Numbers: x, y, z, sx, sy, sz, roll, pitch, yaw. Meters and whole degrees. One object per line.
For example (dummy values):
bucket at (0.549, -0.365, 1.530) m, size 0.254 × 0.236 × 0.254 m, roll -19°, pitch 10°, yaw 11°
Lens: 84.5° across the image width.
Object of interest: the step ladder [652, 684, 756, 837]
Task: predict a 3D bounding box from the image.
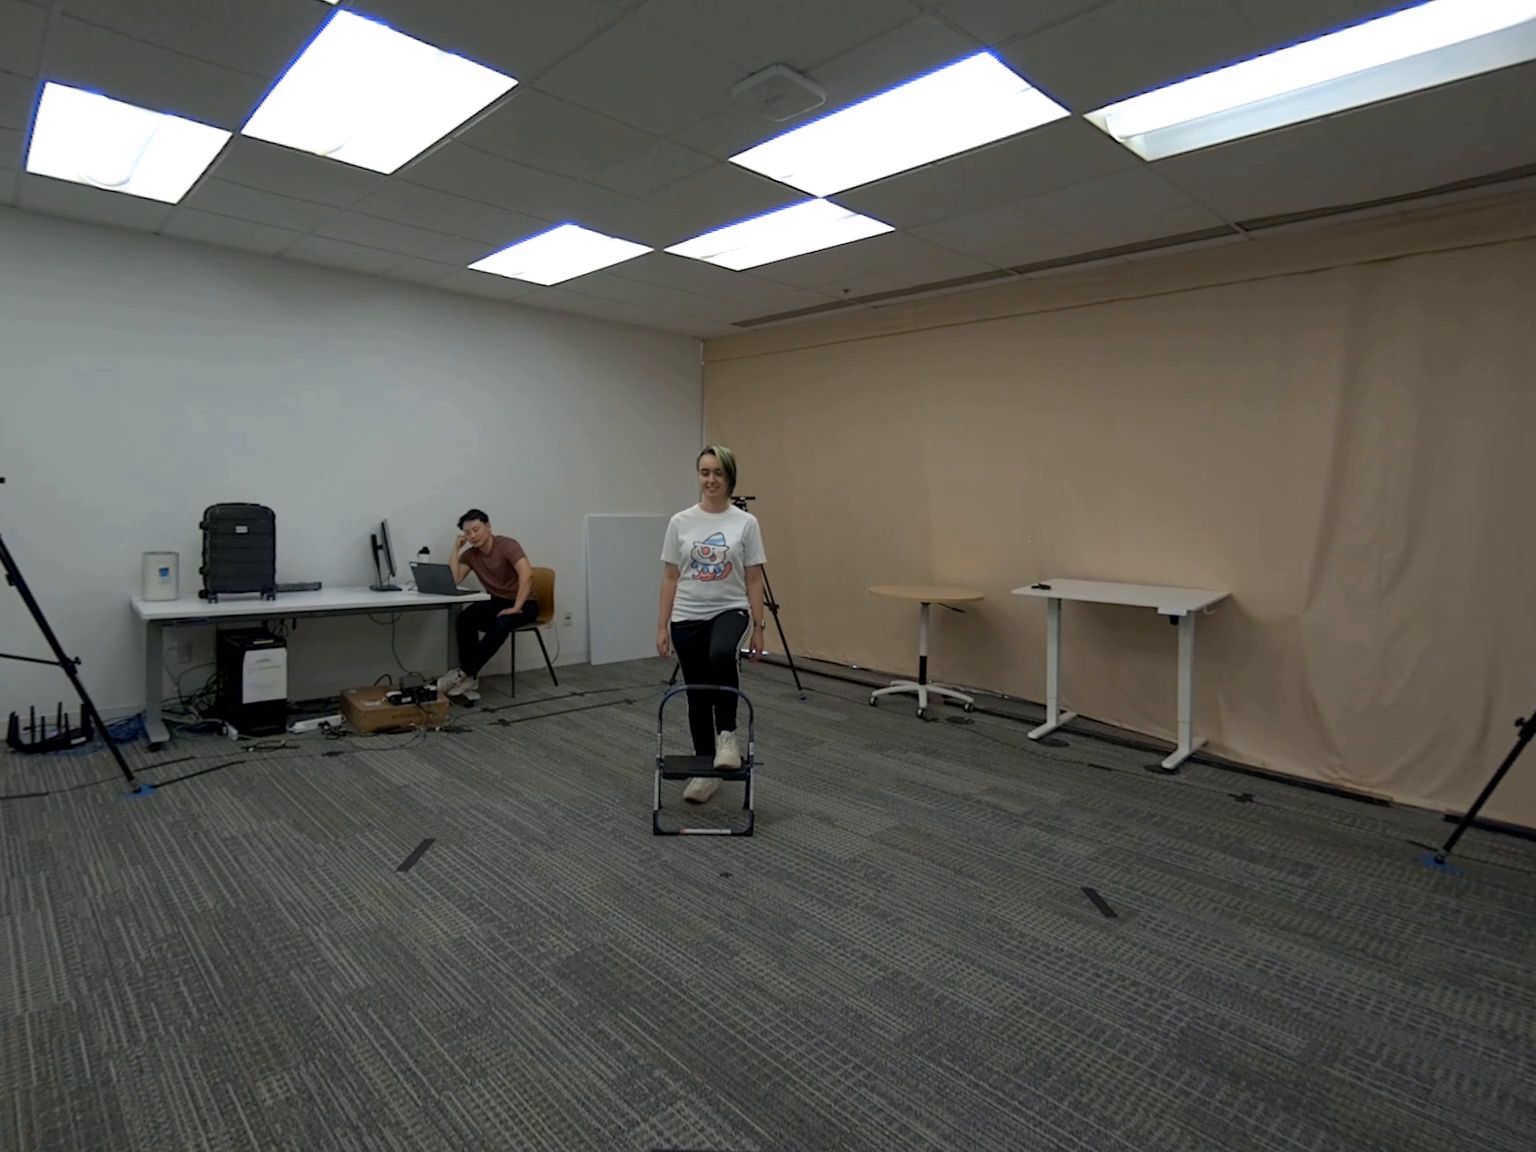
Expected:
step ladder at (-0.284, 0.762, 3.614) m, size 0.429 × 0.605 × 0.351 m, roll 1°, pitch 3°, yaw -5°
